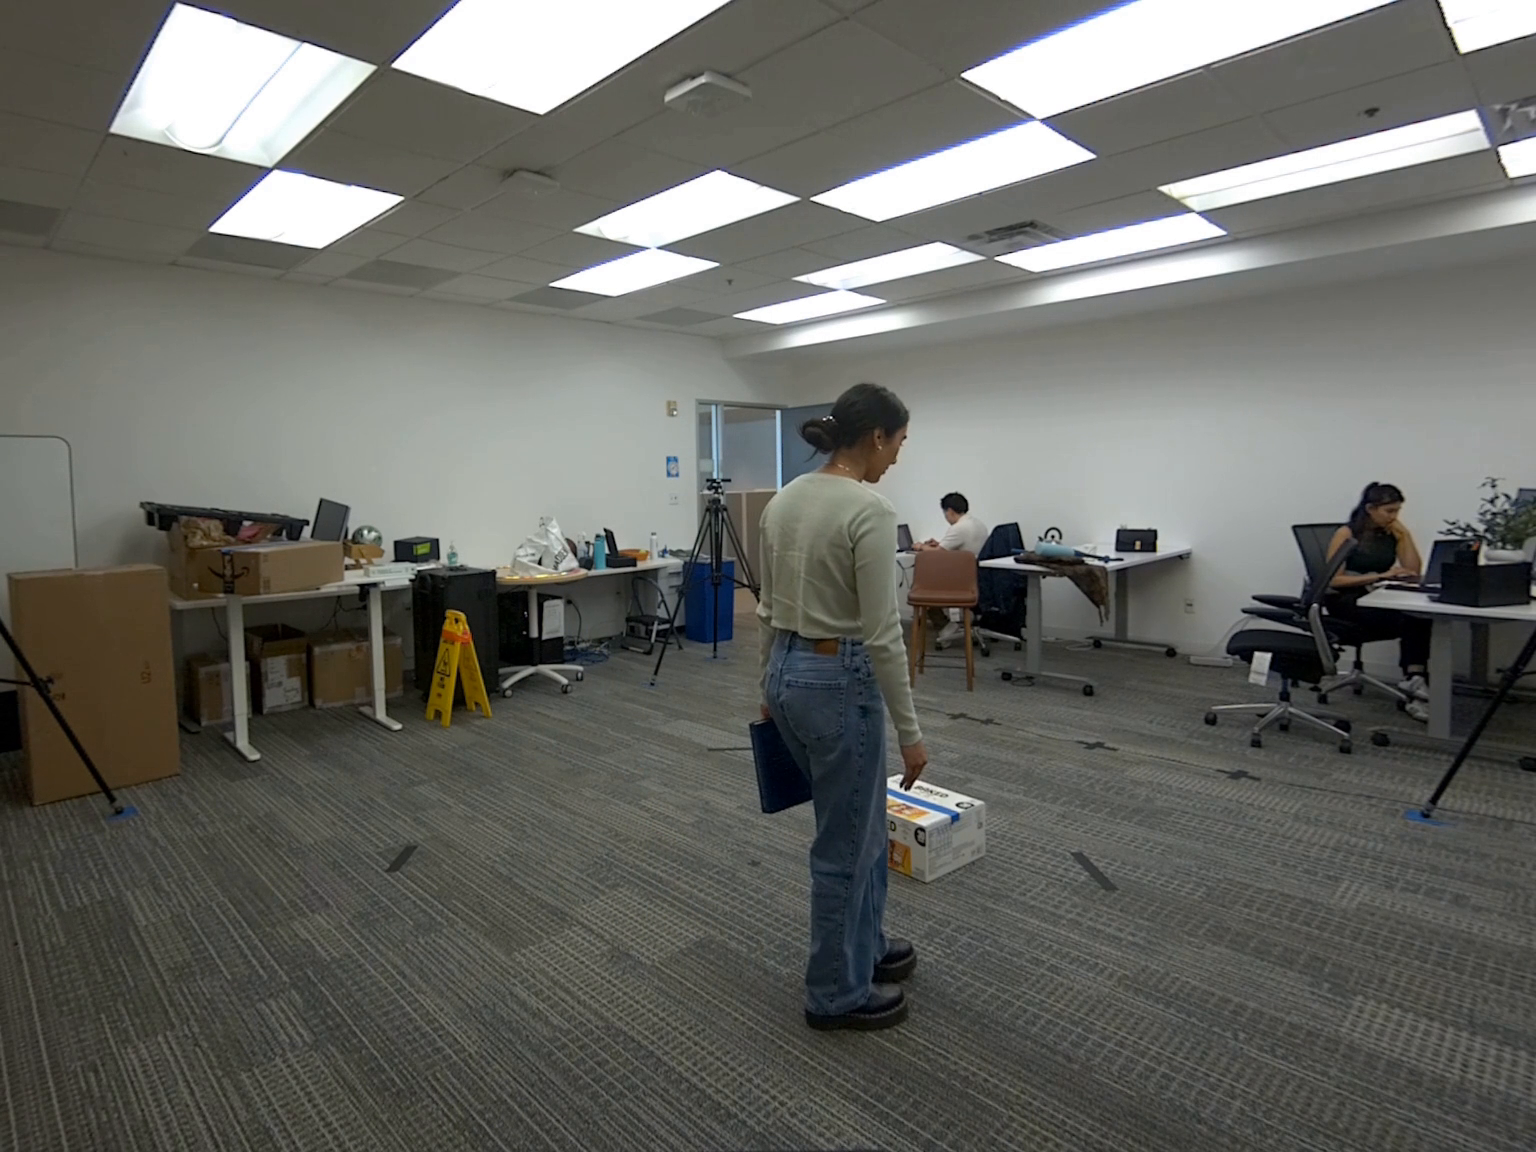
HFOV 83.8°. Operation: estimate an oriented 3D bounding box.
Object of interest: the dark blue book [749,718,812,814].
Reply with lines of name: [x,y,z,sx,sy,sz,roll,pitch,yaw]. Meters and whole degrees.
dark blue book: [0.045,0.519,2.368,0.160,0.246,0.046,-7,-4,-31]
